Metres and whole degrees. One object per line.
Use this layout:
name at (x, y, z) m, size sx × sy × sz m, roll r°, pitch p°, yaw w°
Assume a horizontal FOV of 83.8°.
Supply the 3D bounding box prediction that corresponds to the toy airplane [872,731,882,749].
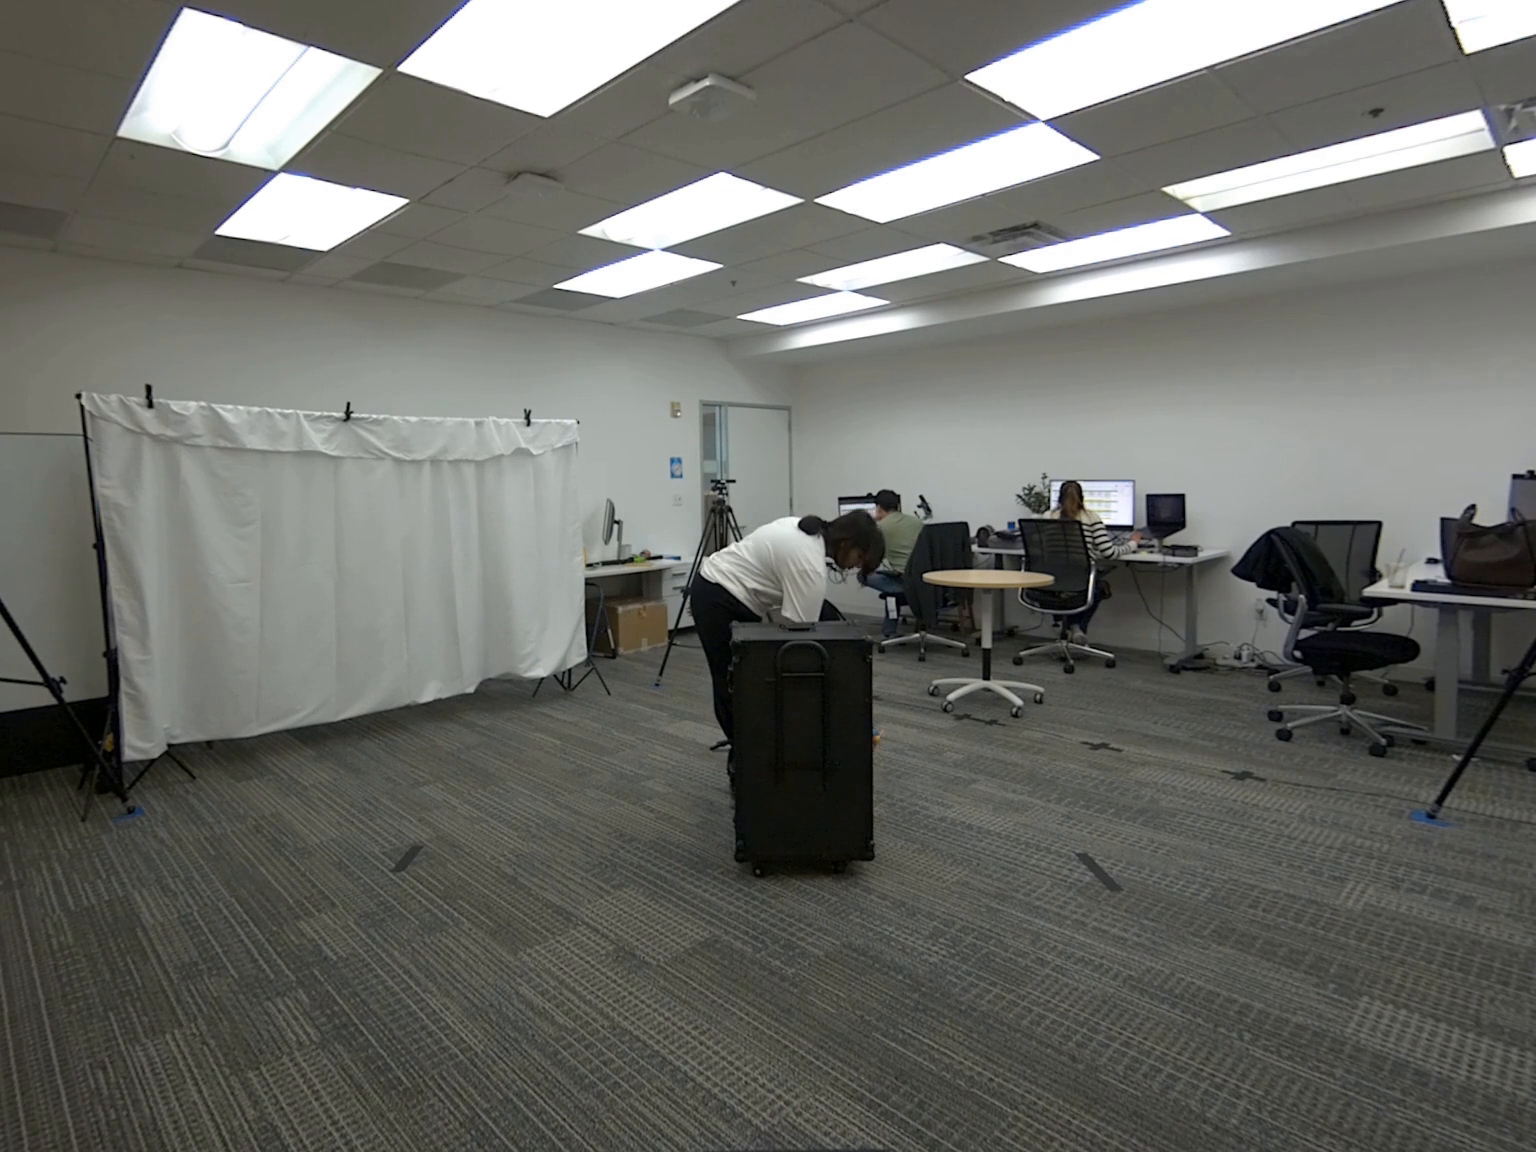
toy airplane at (0.340, 0.626, 3.537) m, size 0.258 × 0.156 × 0.252 m, roll 43°, pitch -9°, yaw -5°
